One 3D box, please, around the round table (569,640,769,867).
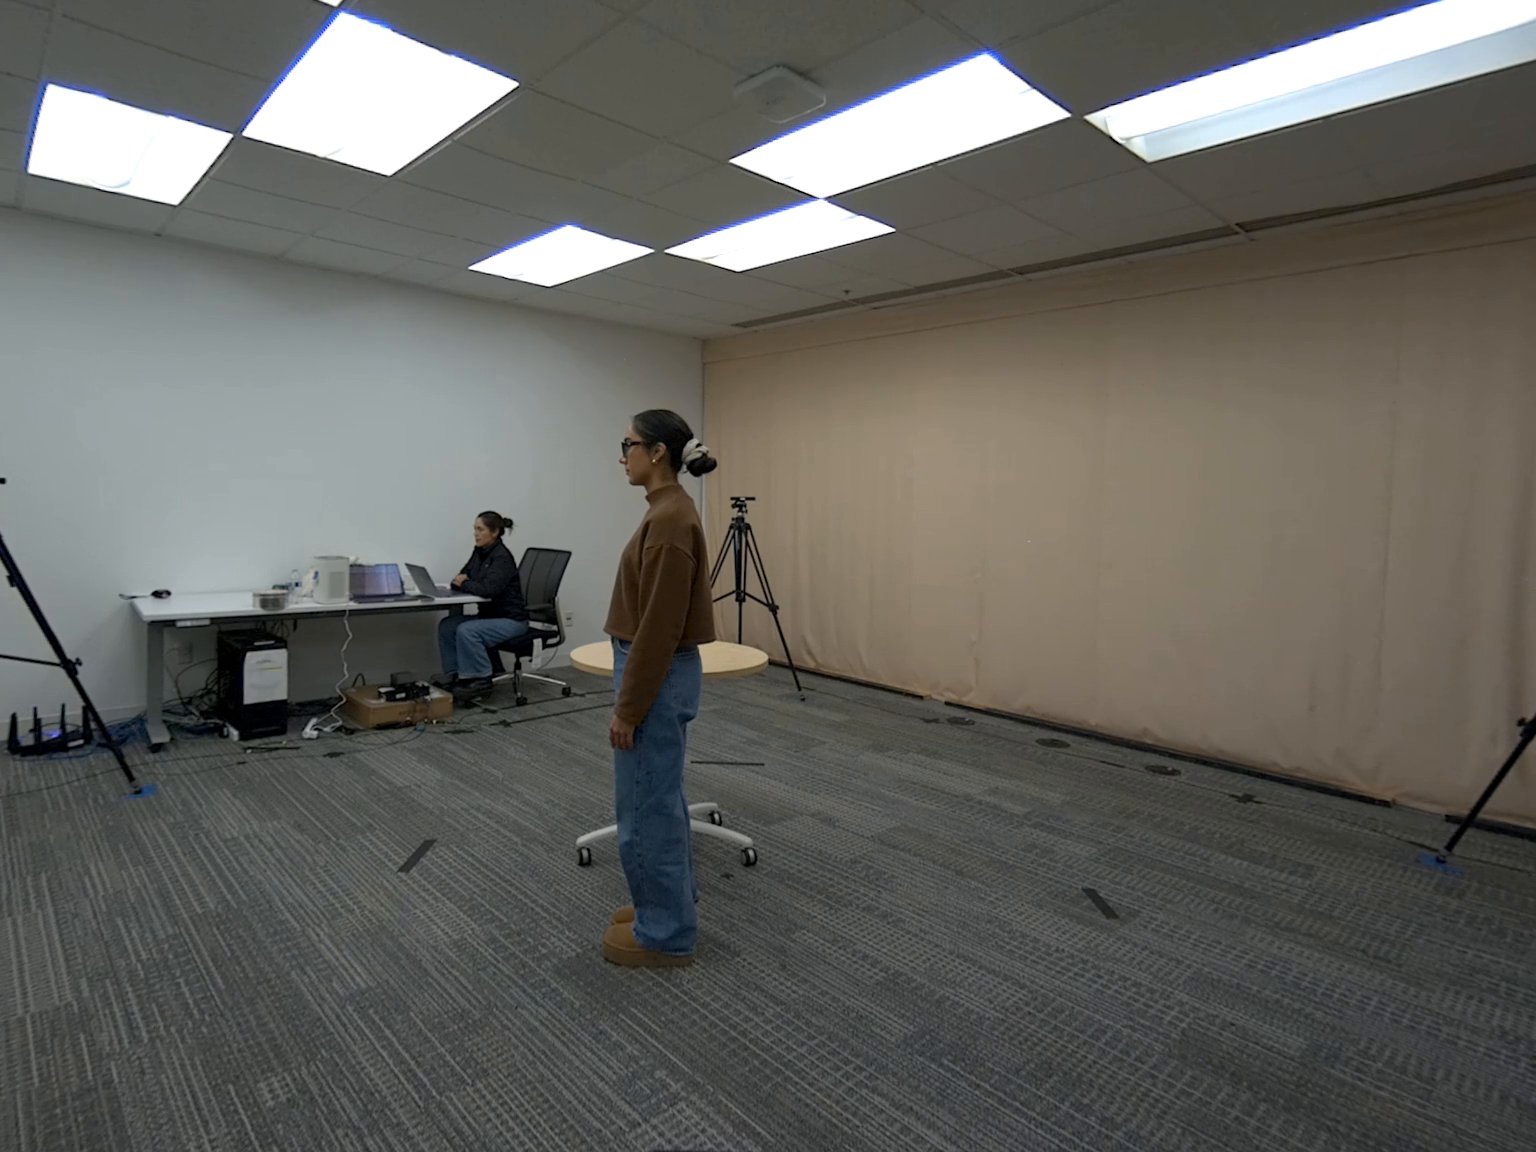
[{"bbox_3d":[-0.402,0.698,3.291,0.763,0.792,0.766,1,4,-1],"label":"round table"}]
